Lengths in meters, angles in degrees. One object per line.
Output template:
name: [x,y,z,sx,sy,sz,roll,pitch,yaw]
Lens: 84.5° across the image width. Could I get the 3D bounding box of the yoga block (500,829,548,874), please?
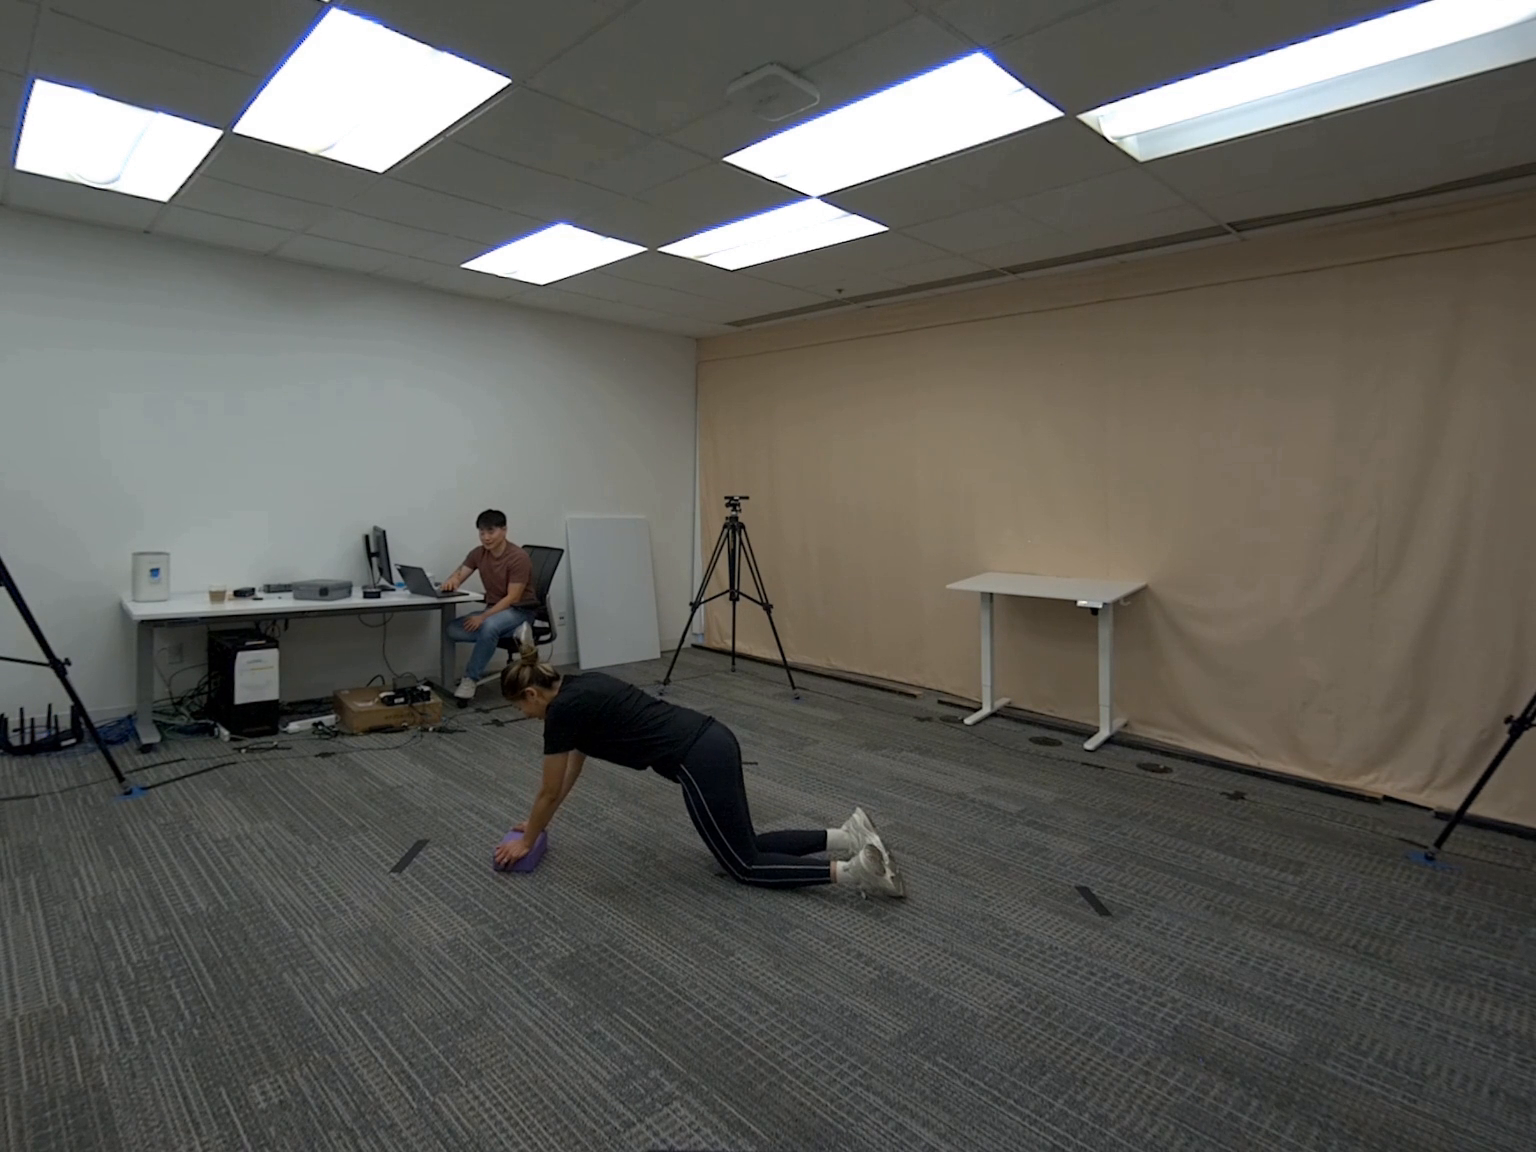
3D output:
yoga block: [-0.937,1.033,3.204,0.149,0.076,0.229,0,4,1]
